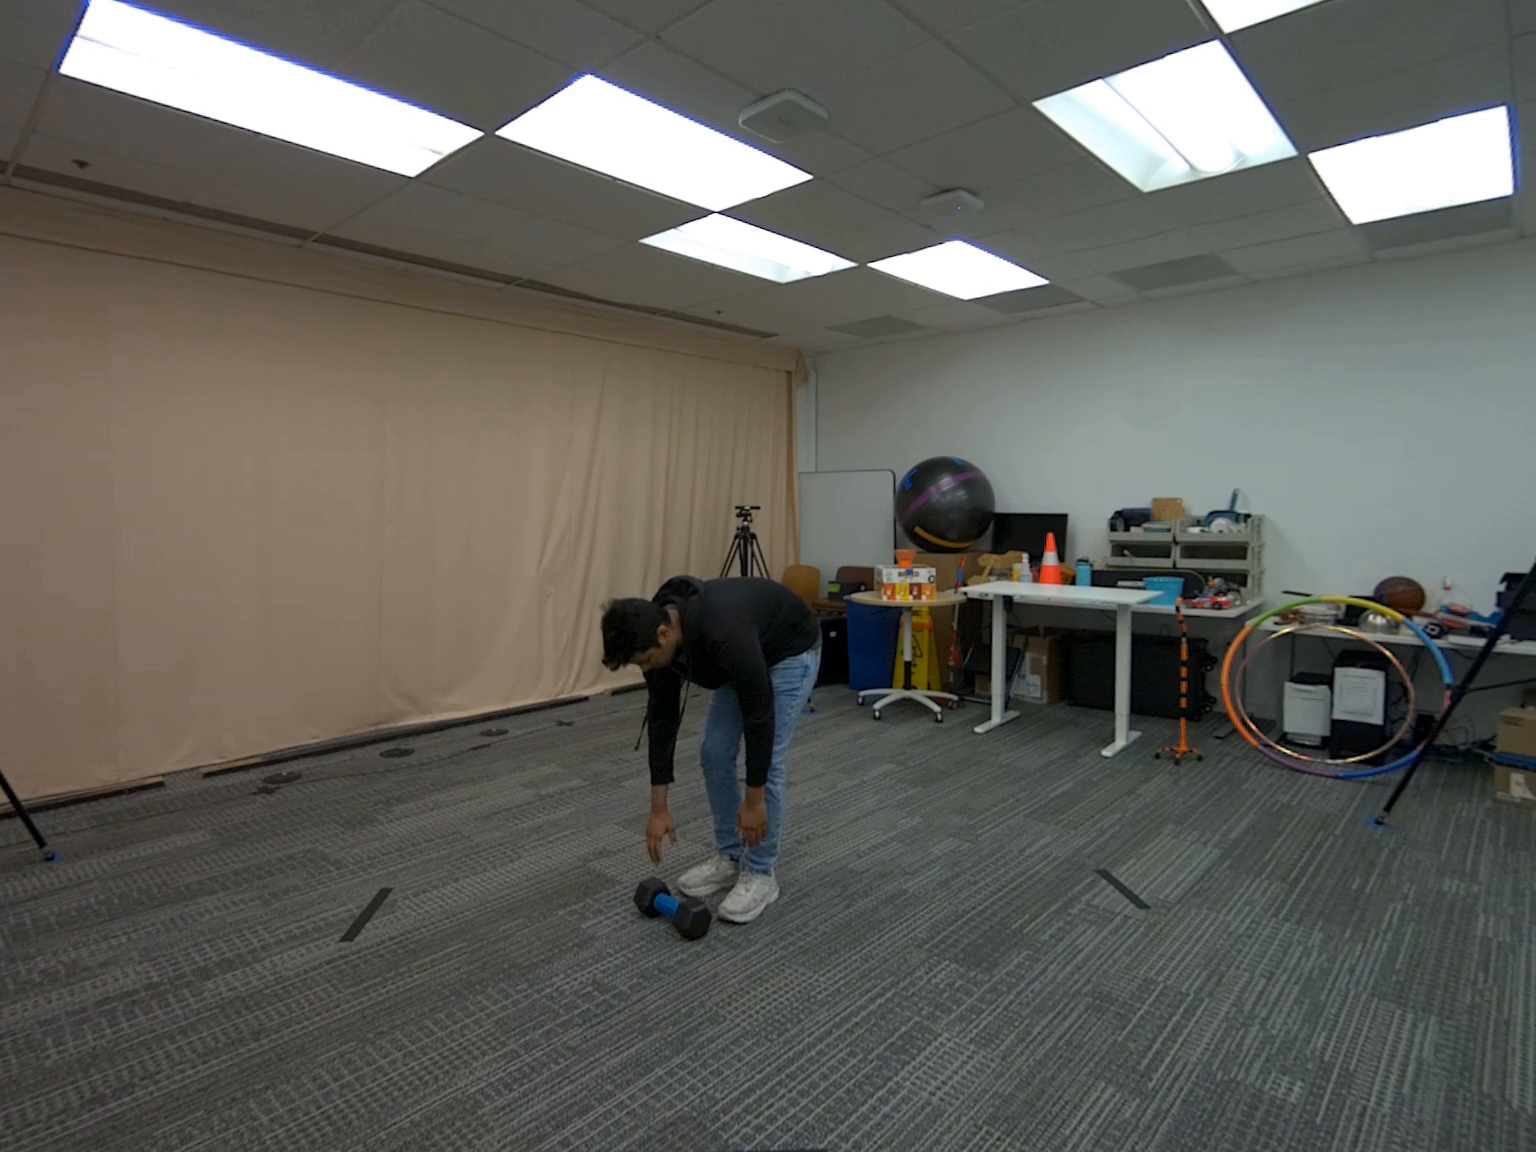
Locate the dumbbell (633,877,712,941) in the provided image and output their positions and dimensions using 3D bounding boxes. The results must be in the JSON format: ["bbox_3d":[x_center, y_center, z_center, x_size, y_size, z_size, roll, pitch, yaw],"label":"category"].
[{"bbox_3d":[-0.317,1.106,2.804,0.303,0.120,0.107,4,37,46],"label":"dumbbell"}]
